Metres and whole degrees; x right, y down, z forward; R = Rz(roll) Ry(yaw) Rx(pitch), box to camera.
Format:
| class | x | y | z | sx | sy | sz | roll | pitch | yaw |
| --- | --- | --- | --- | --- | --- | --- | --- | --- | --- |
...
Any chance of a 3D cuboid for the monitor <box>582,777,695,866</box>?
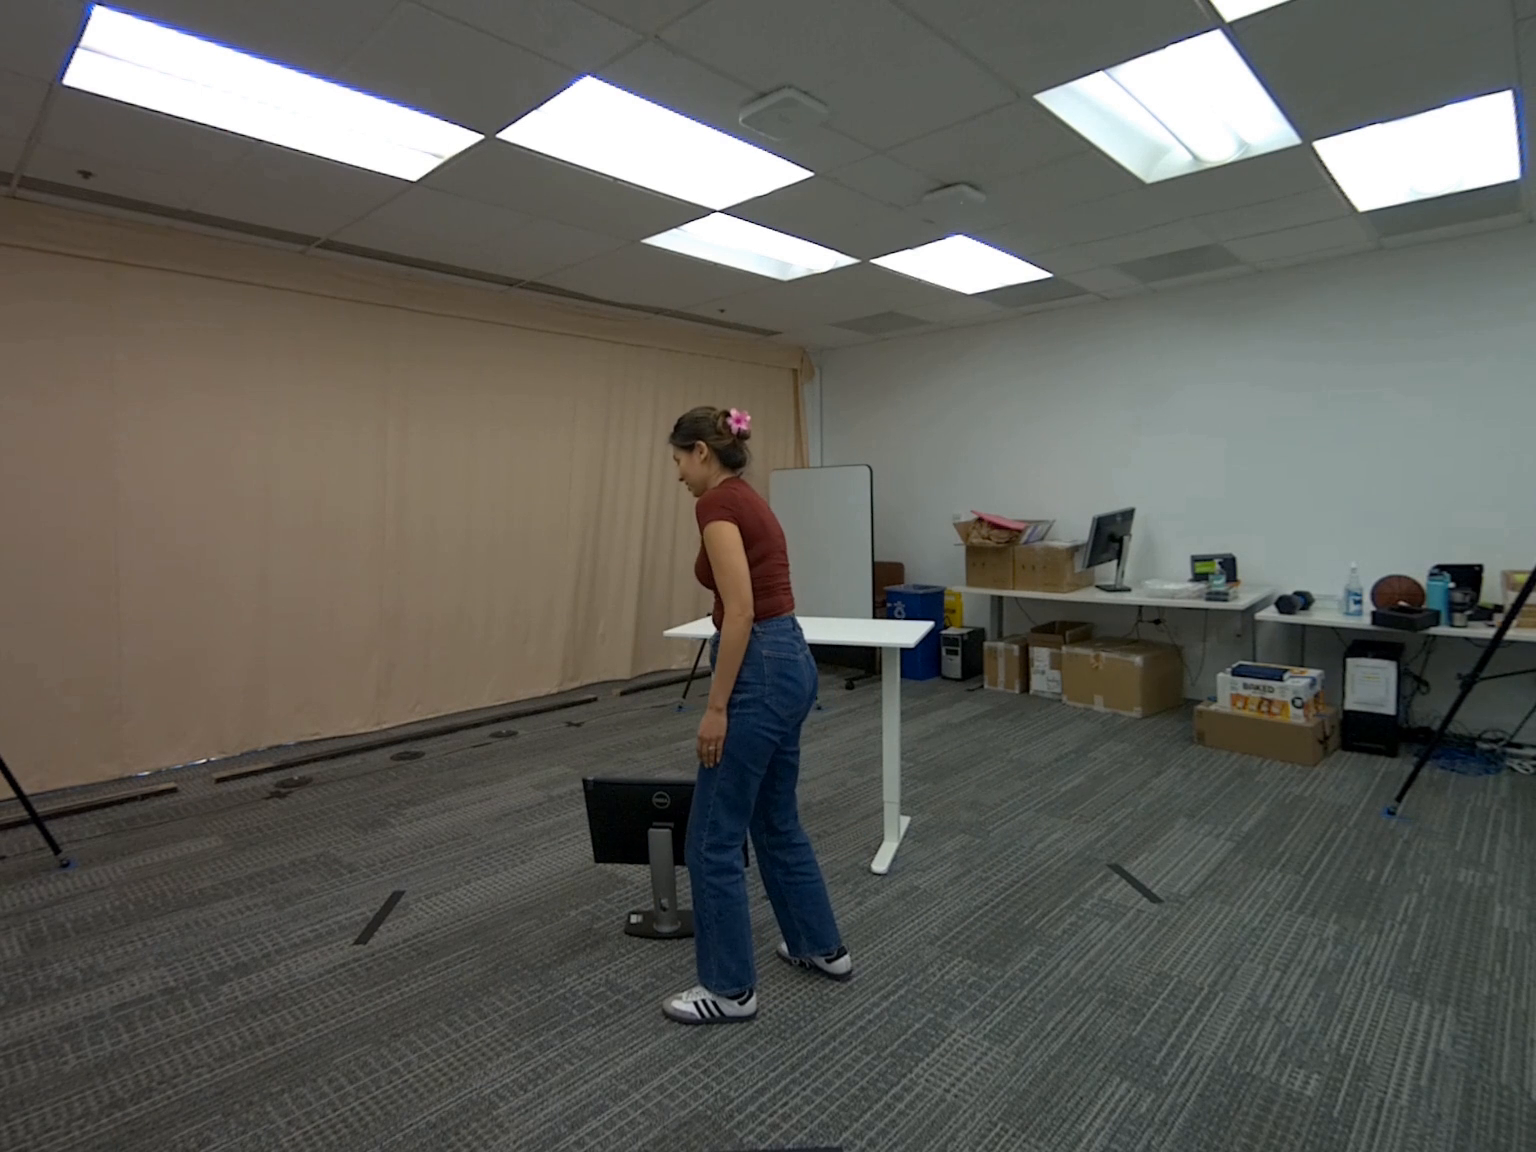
| class | x | y | z | sx | sy | sz | roll | pitch | yaw |
| --- | --- | --- | --- | --- | --- | --- | --- | --- | --- |
| monitor | -0.339 | 0.914 | 2.769 | 0.543 | 0.520 | 0.186 | 0 | 6 | 6 |
